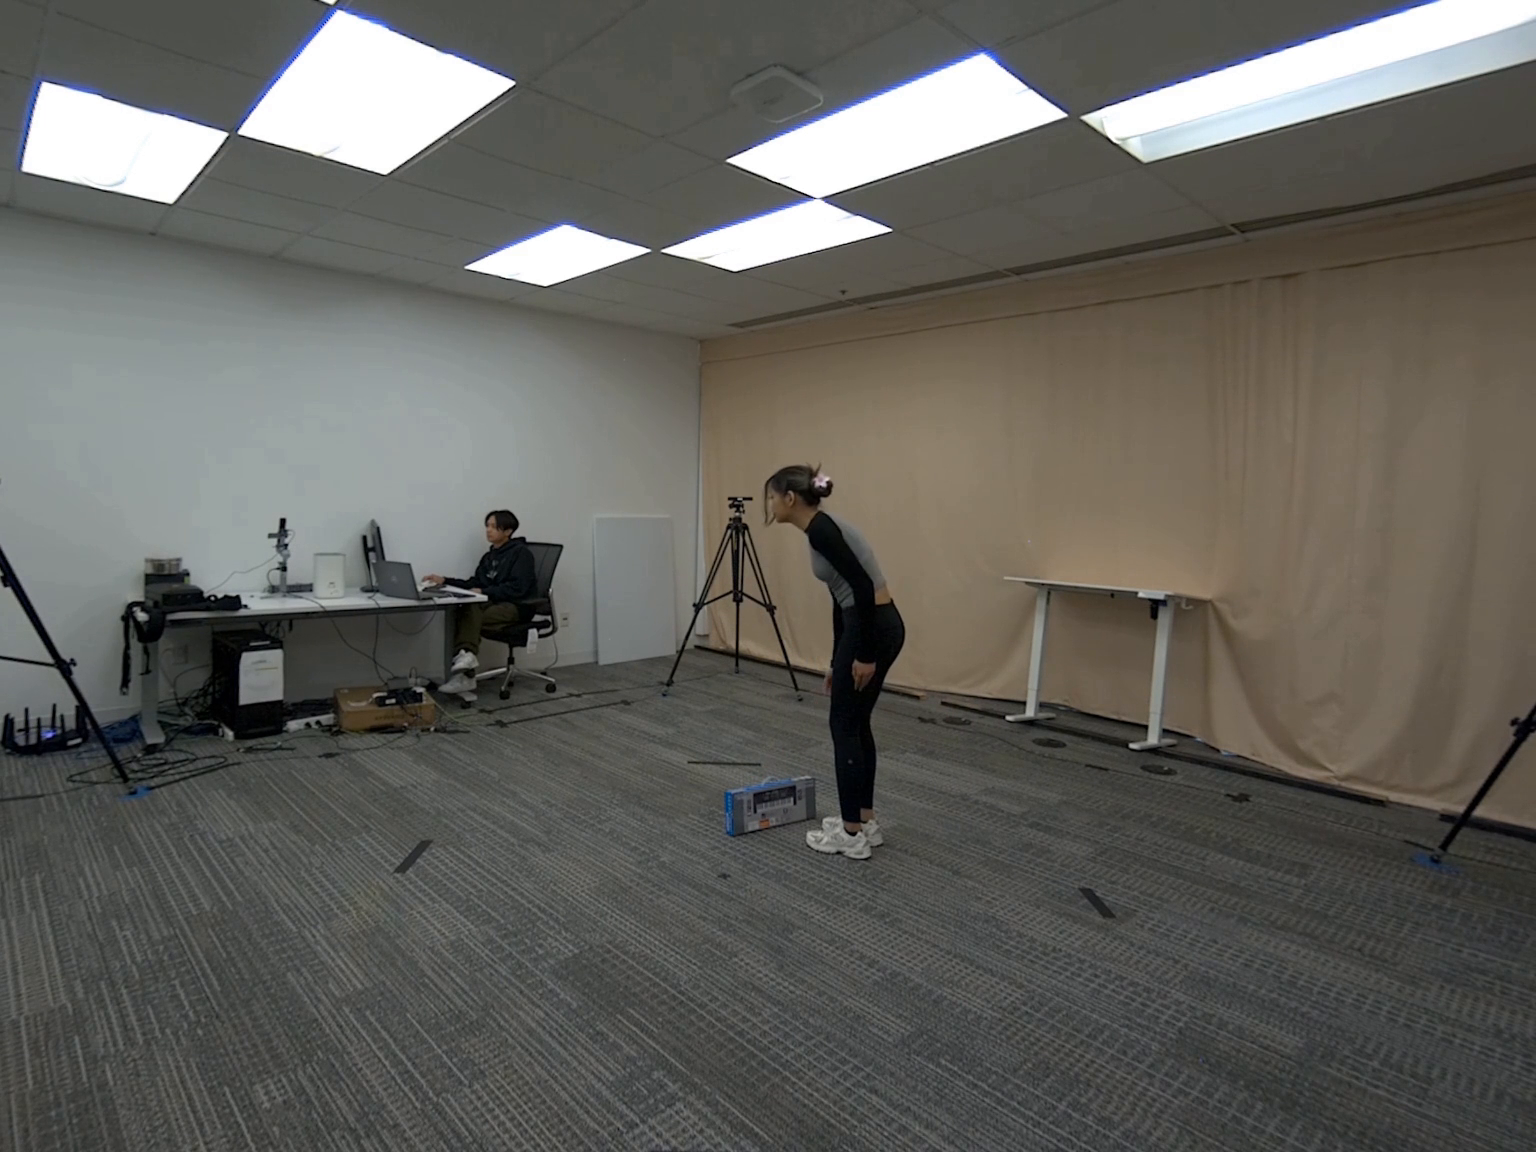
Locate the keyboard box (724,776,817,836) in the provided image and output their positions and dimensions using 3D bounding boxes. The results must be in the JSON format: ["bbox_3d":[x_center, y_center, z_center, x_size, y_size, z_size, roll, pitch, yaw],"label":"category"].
[{"bbox_3d":[0.008,0.981,3.608,0.427,0.176,0.060,-1,-2,-33],"label":"keyboard box"}]
